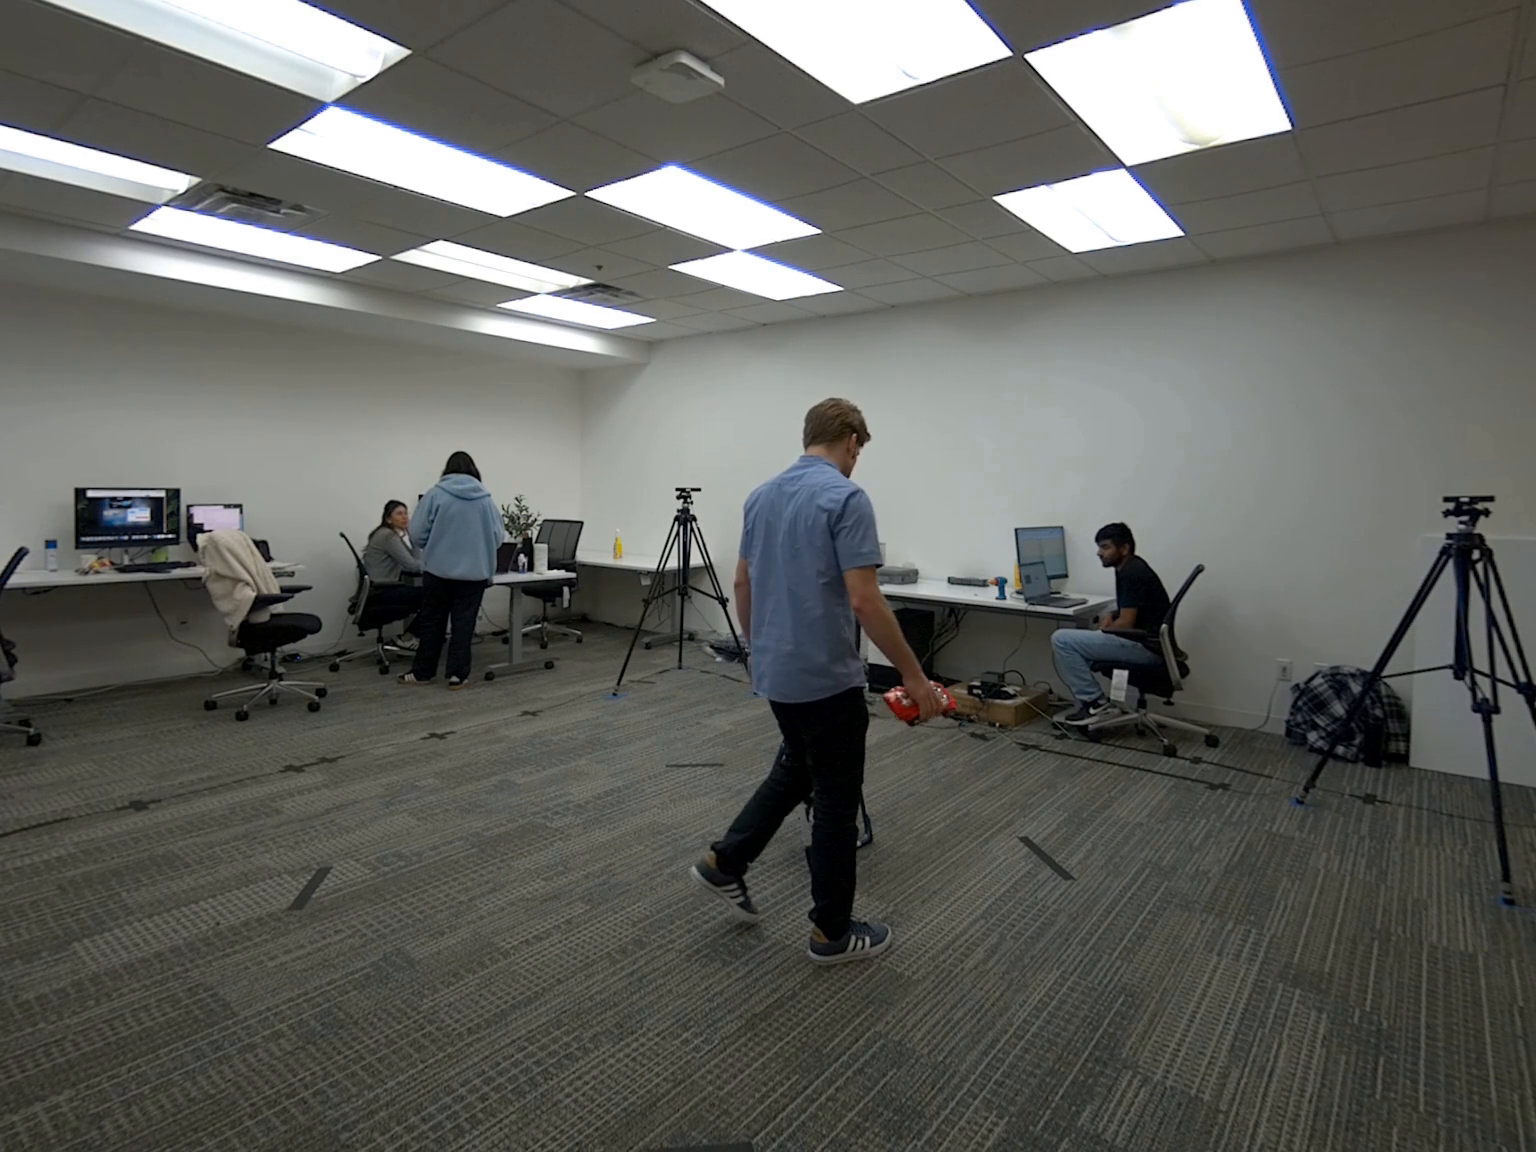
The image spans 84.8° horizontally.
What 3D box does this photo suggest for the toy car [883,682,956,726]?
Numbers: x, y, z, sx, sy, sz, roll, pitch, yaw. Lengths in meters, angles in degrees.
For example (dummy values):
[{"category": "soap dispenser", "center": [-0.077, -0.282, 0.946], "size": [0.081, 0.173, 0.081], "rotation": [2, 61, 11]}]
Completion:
[{"category": "toy car", "center": [0.421, 0.373, 2.495], "size": [0.246, 0.082, 0.136], "rotation": [5, 36, -41]}]
